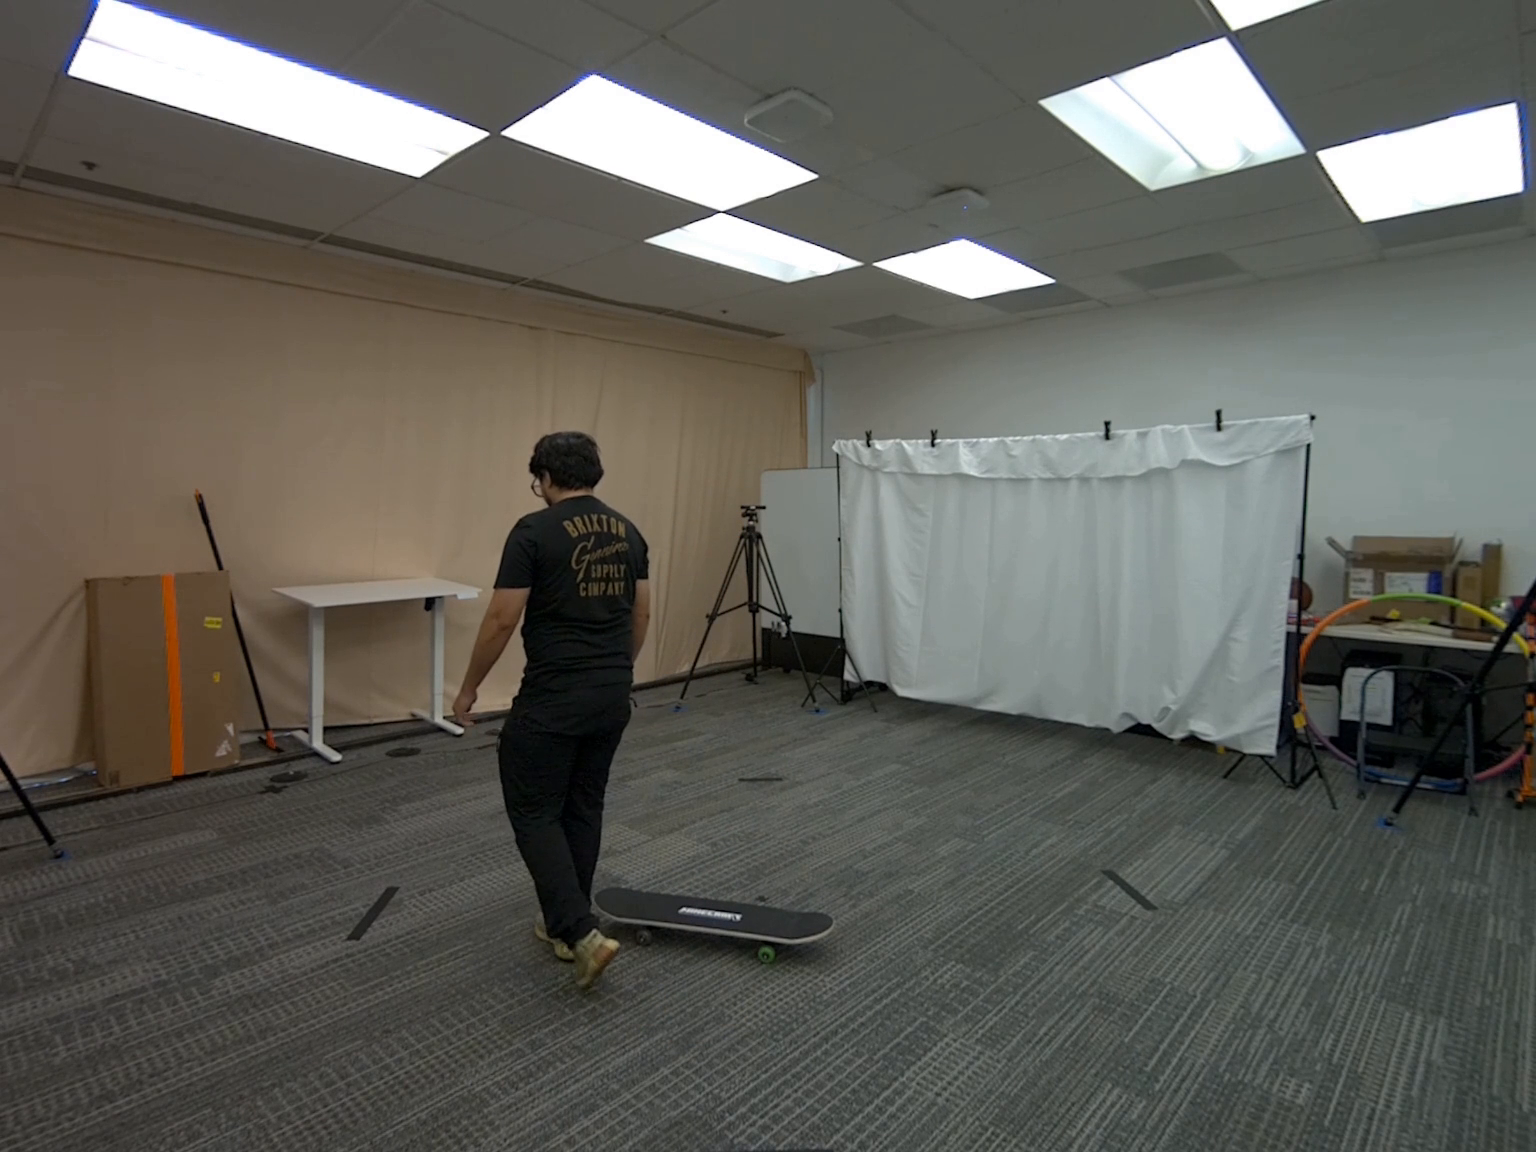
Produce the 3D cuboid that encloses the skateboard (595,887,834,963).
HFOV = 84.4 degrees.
[{"bbox_3d":[-0.179,1.112,2.689,0.798,0.110,0.191,0,4,14],"label":"skateboard"}]
